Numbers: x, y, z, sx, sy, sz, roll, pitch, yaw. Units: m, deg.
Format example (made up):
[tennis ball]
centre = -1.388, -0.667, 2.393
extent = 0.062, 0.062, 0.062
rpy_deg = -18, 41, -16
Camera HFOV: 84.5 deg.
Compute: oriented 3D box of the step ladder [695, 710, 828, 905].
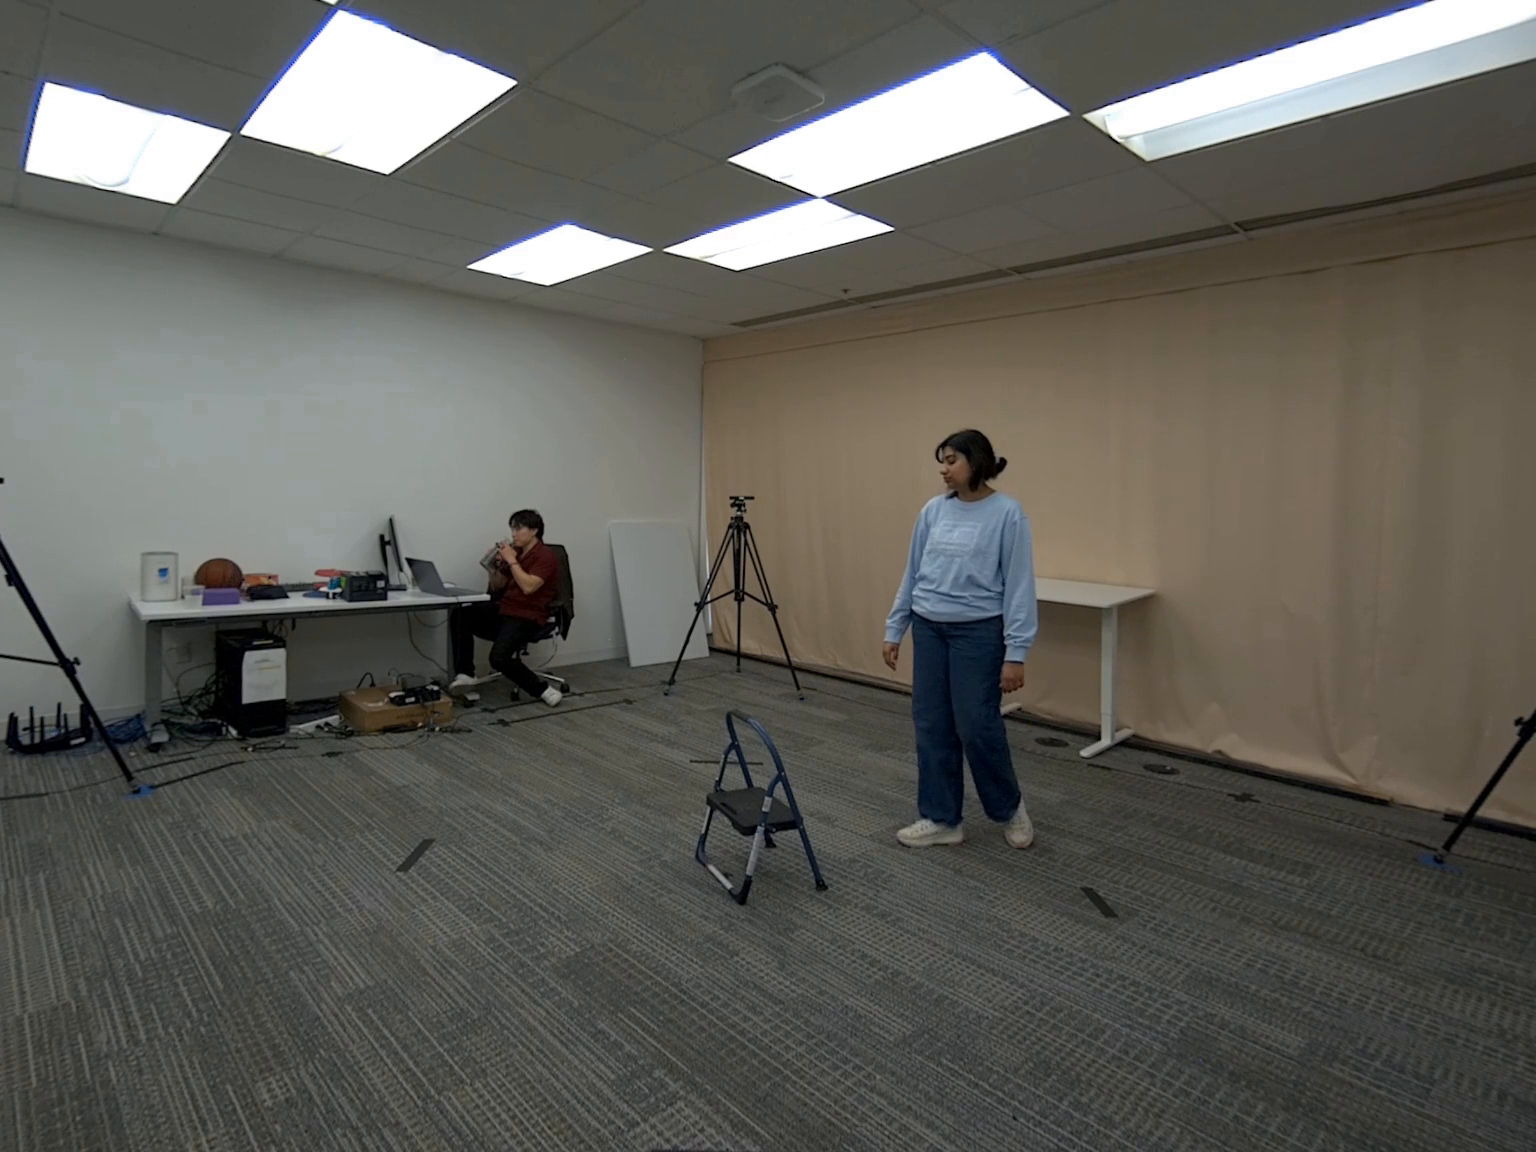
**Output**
[step ladder]
centre = -0.037, 0.802, 3.110
extent = 0.343, 0.605, 0.440
rpy_deg = 0, 4, -27
